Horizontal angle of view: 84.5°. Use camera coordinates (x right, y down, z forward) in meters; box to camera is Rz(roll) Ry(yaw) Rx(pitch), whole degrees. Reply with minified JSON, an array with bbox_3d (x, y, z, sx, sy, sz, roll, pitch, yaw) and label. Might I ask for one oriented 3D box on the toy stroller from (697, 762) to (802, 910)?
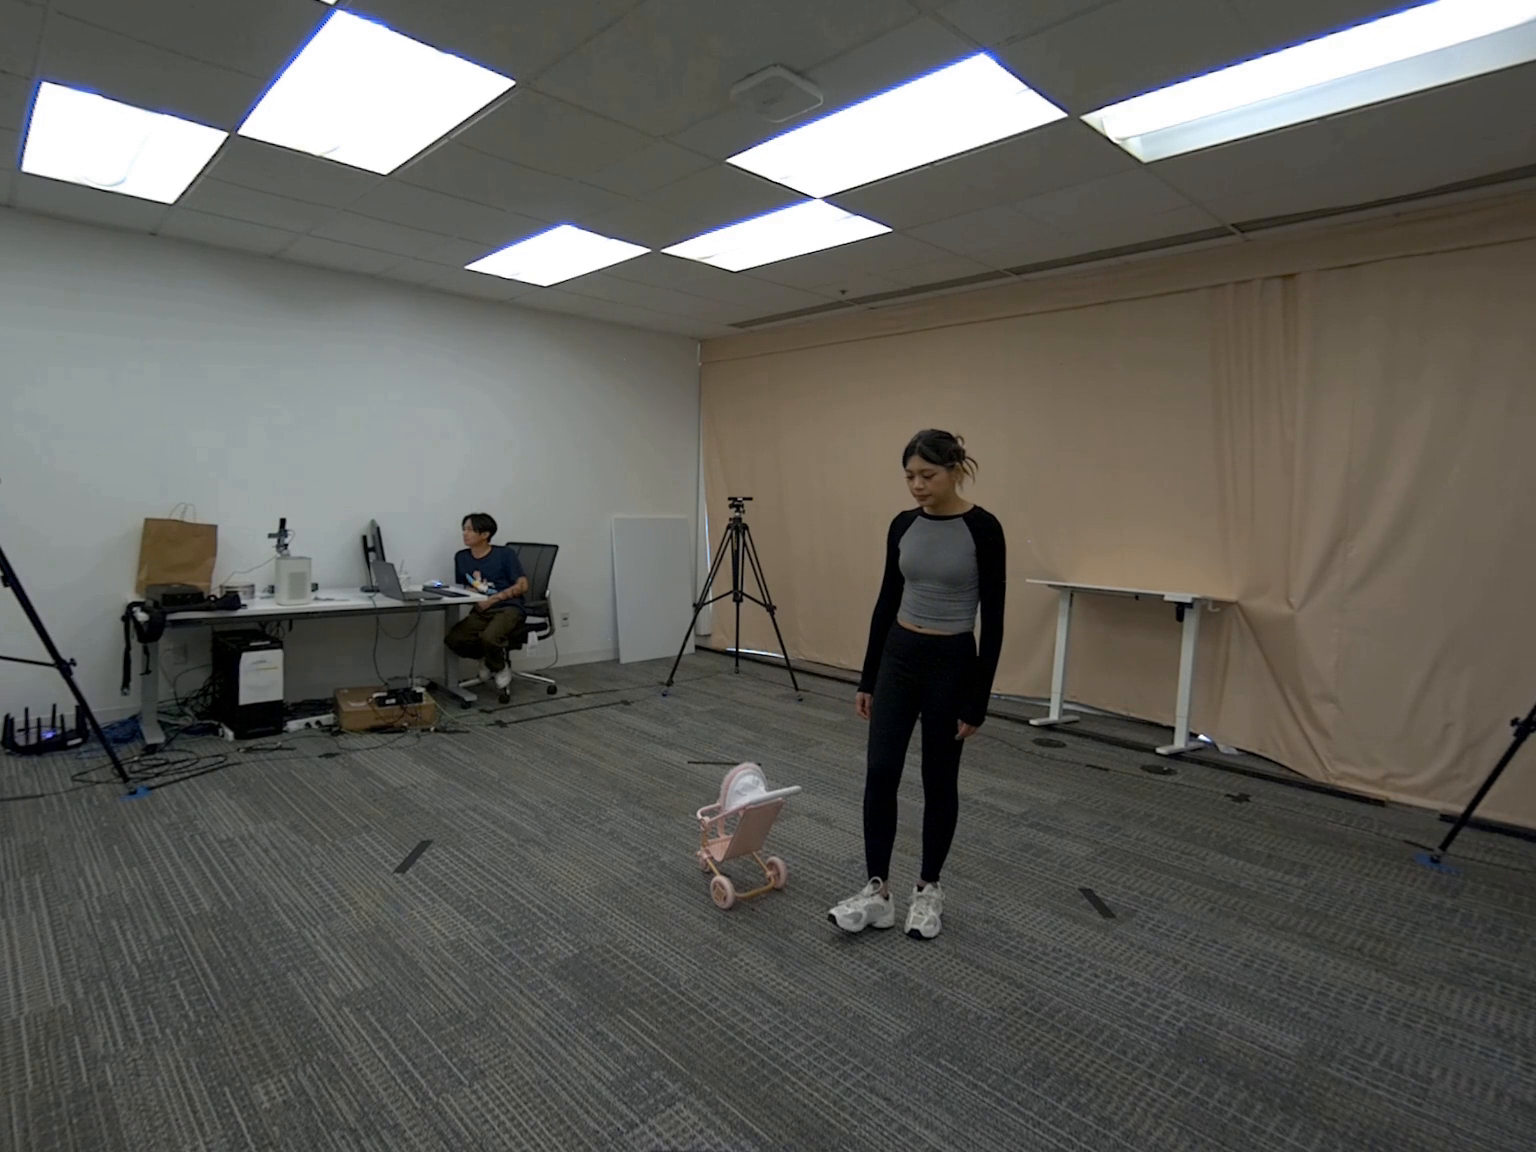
[{"bbox_3d":[-0.104,0.895,2.977,0.275,0.530,0.352,-1,21,-36],"label":"toy stroller"}]
